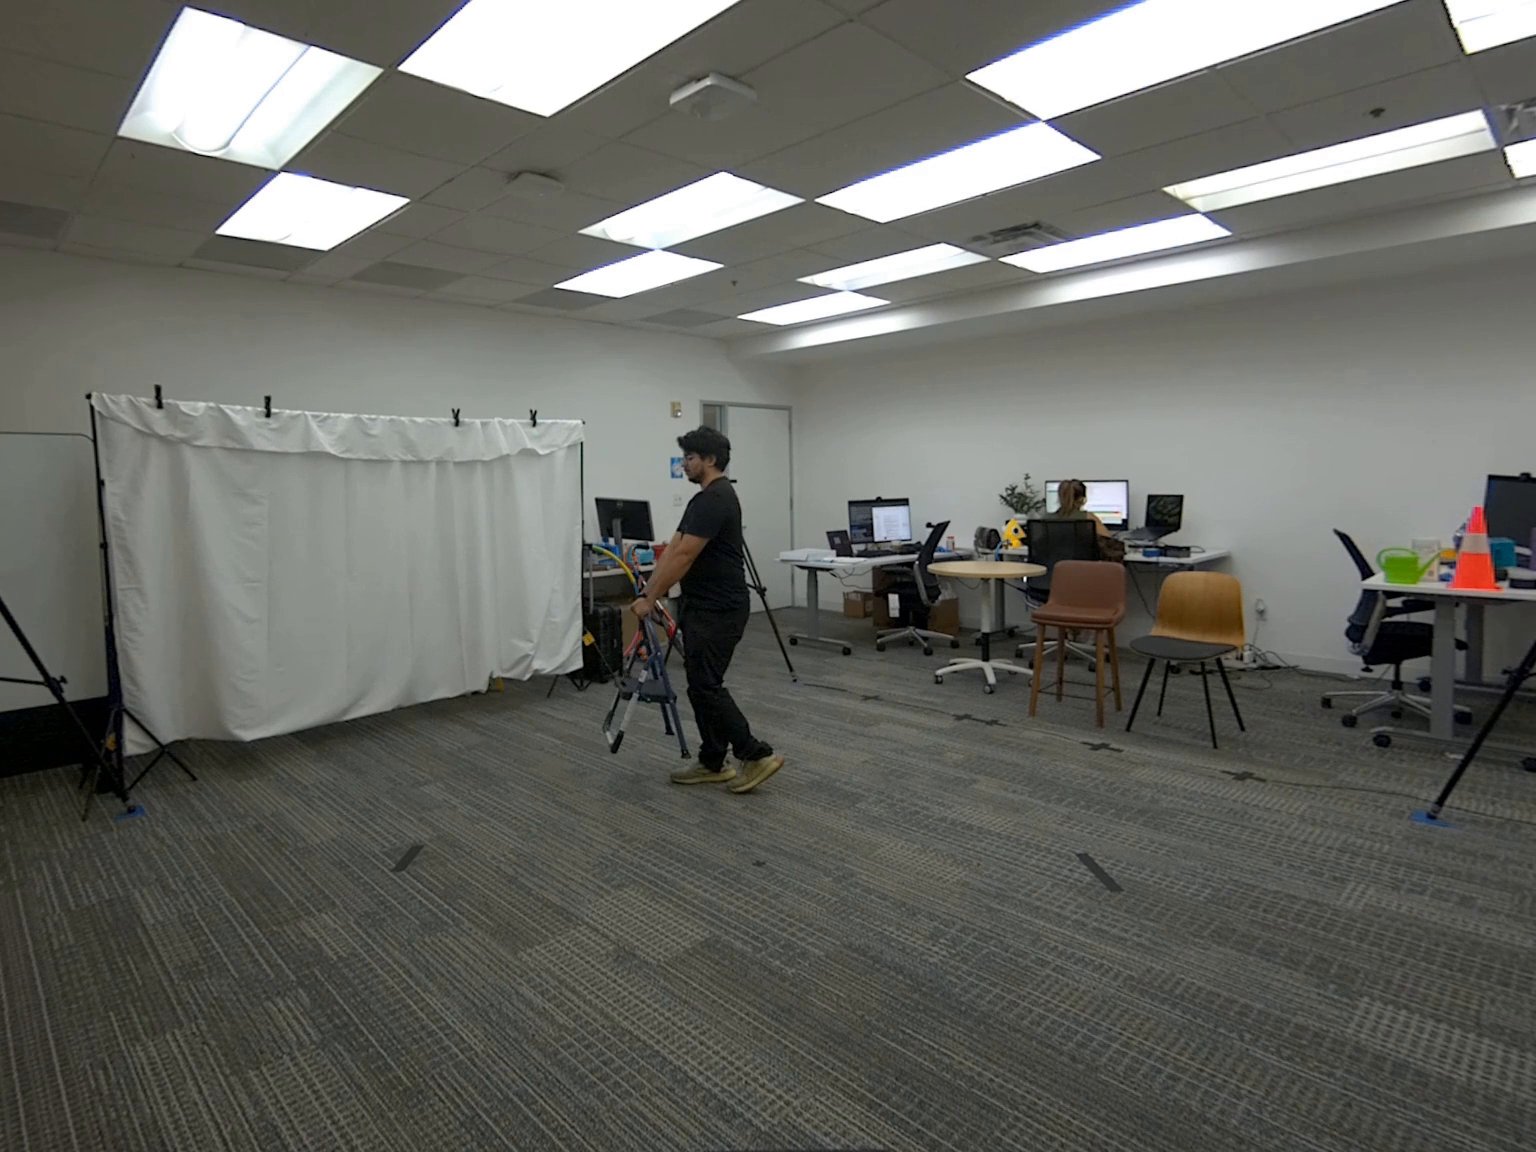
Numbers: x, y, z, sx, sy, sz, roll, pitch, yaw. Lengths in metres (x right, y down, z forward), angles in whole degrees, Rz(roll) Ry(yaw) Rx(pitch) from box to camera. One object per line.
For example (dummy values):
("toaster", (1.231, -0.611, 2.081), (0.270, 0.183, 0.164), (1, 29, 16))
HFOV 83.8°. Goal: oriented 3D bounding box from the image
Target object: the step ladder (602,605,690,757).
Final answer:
("step ladder", (-0.524, 0.464, 3.865), (0.344, 0.606, 0.437), (7, 0, -15))
